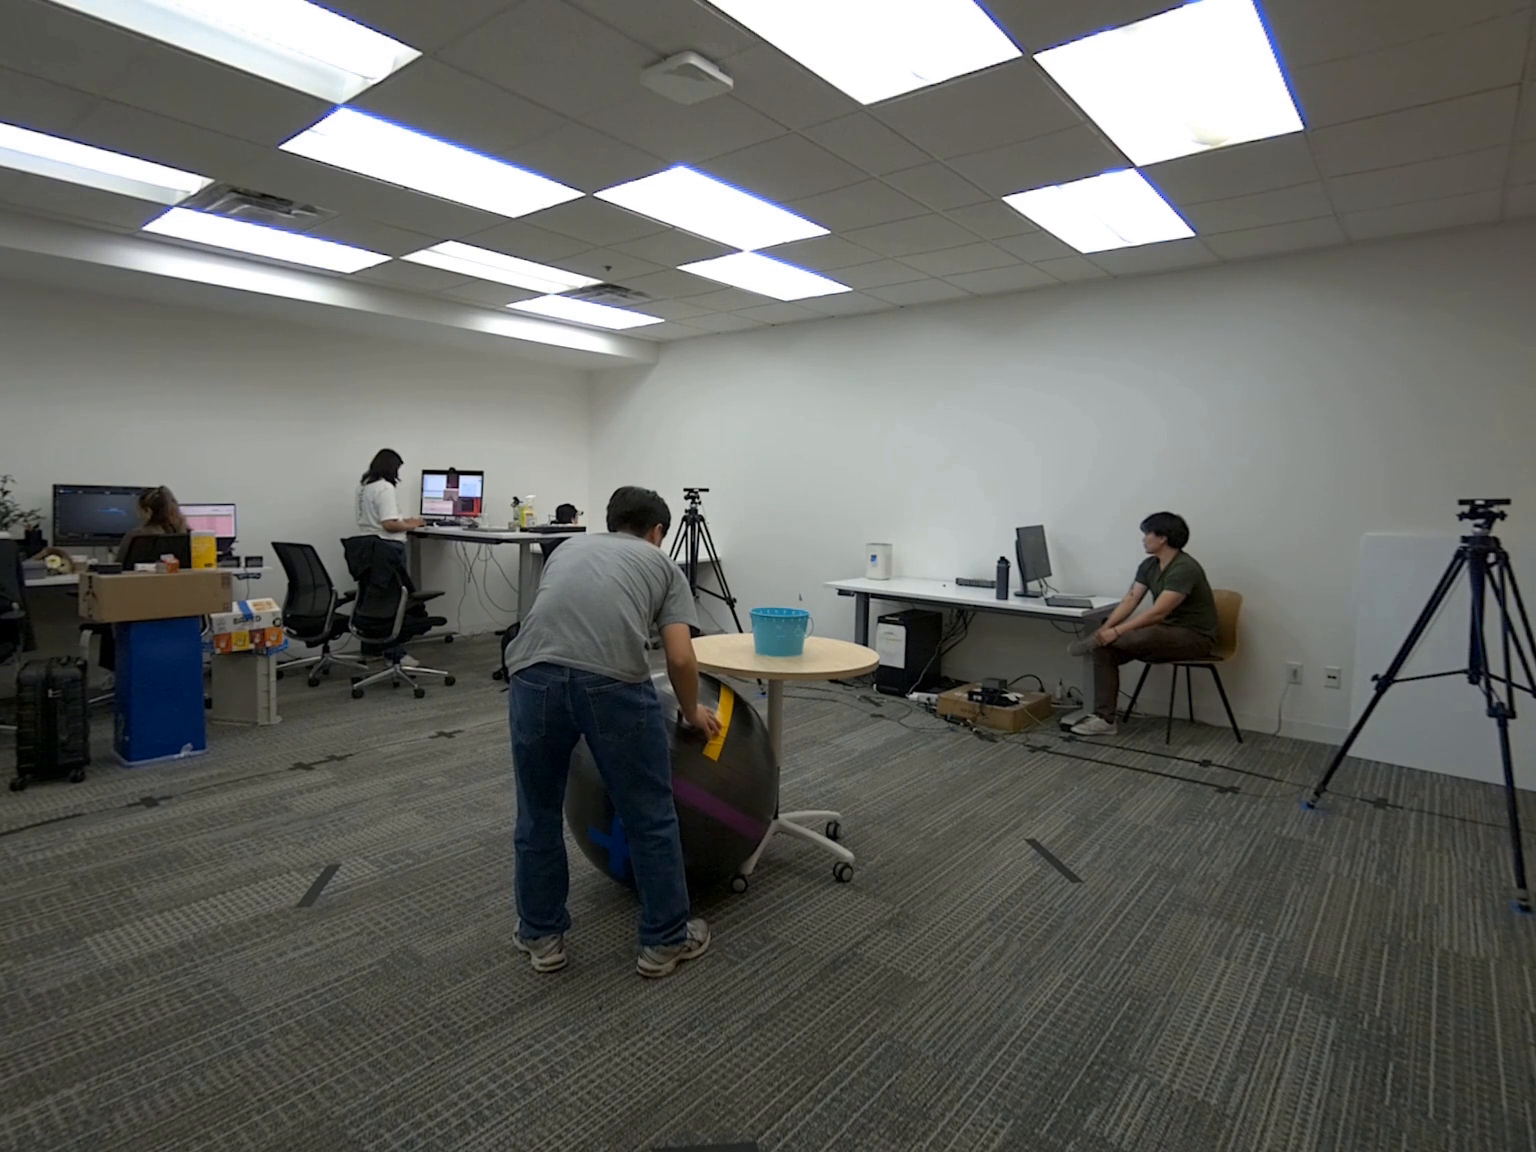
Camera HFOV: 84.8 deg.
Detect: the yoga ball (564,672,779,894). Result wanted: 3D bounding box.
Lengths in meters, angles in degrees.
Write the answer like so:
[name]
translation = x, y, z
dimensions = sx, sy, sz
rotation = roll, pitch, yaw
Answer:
[yoga ball]
translation = -0.373, 0.713, 2.977
dimensions = 0.757, 0.755, 0.762
rotation = 1, 4, -2
